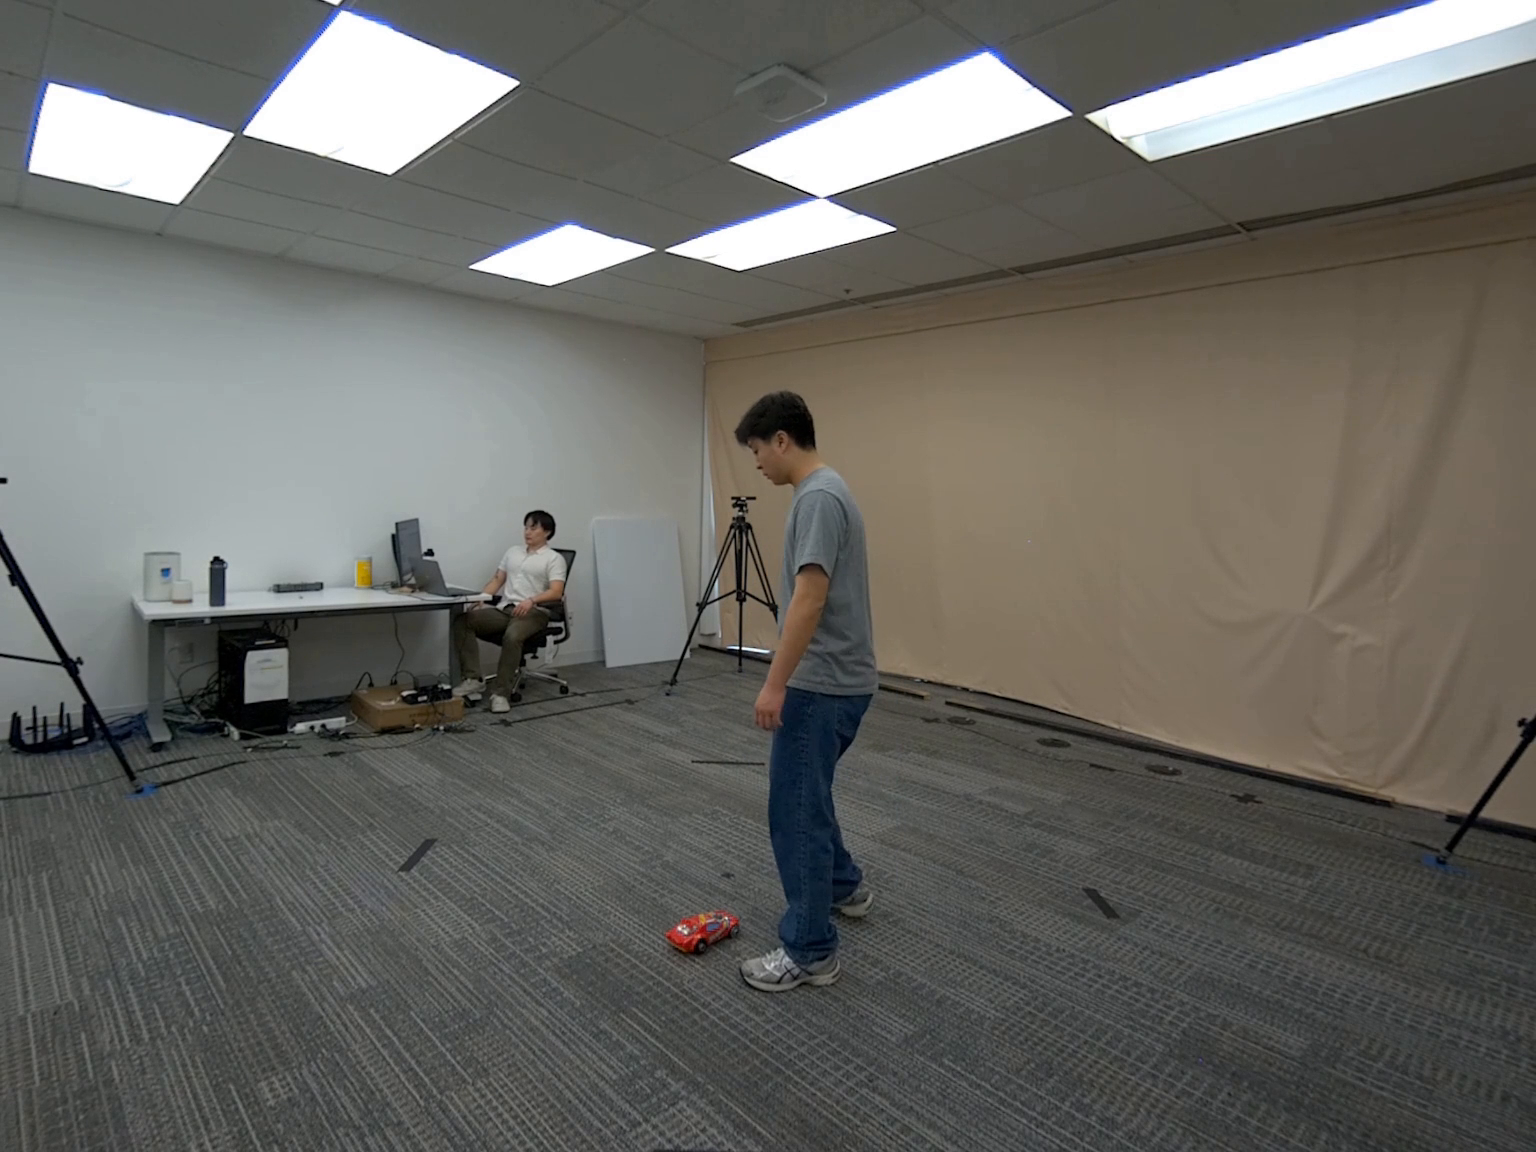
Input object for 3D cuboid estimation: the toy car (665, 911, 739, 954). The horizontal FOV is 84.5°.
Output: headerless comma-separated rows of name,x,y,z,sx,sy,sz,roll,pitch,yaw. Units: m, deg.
toy car,-0.215,1.114,2.628,0.133,0.083,0.247,6,-5,45
